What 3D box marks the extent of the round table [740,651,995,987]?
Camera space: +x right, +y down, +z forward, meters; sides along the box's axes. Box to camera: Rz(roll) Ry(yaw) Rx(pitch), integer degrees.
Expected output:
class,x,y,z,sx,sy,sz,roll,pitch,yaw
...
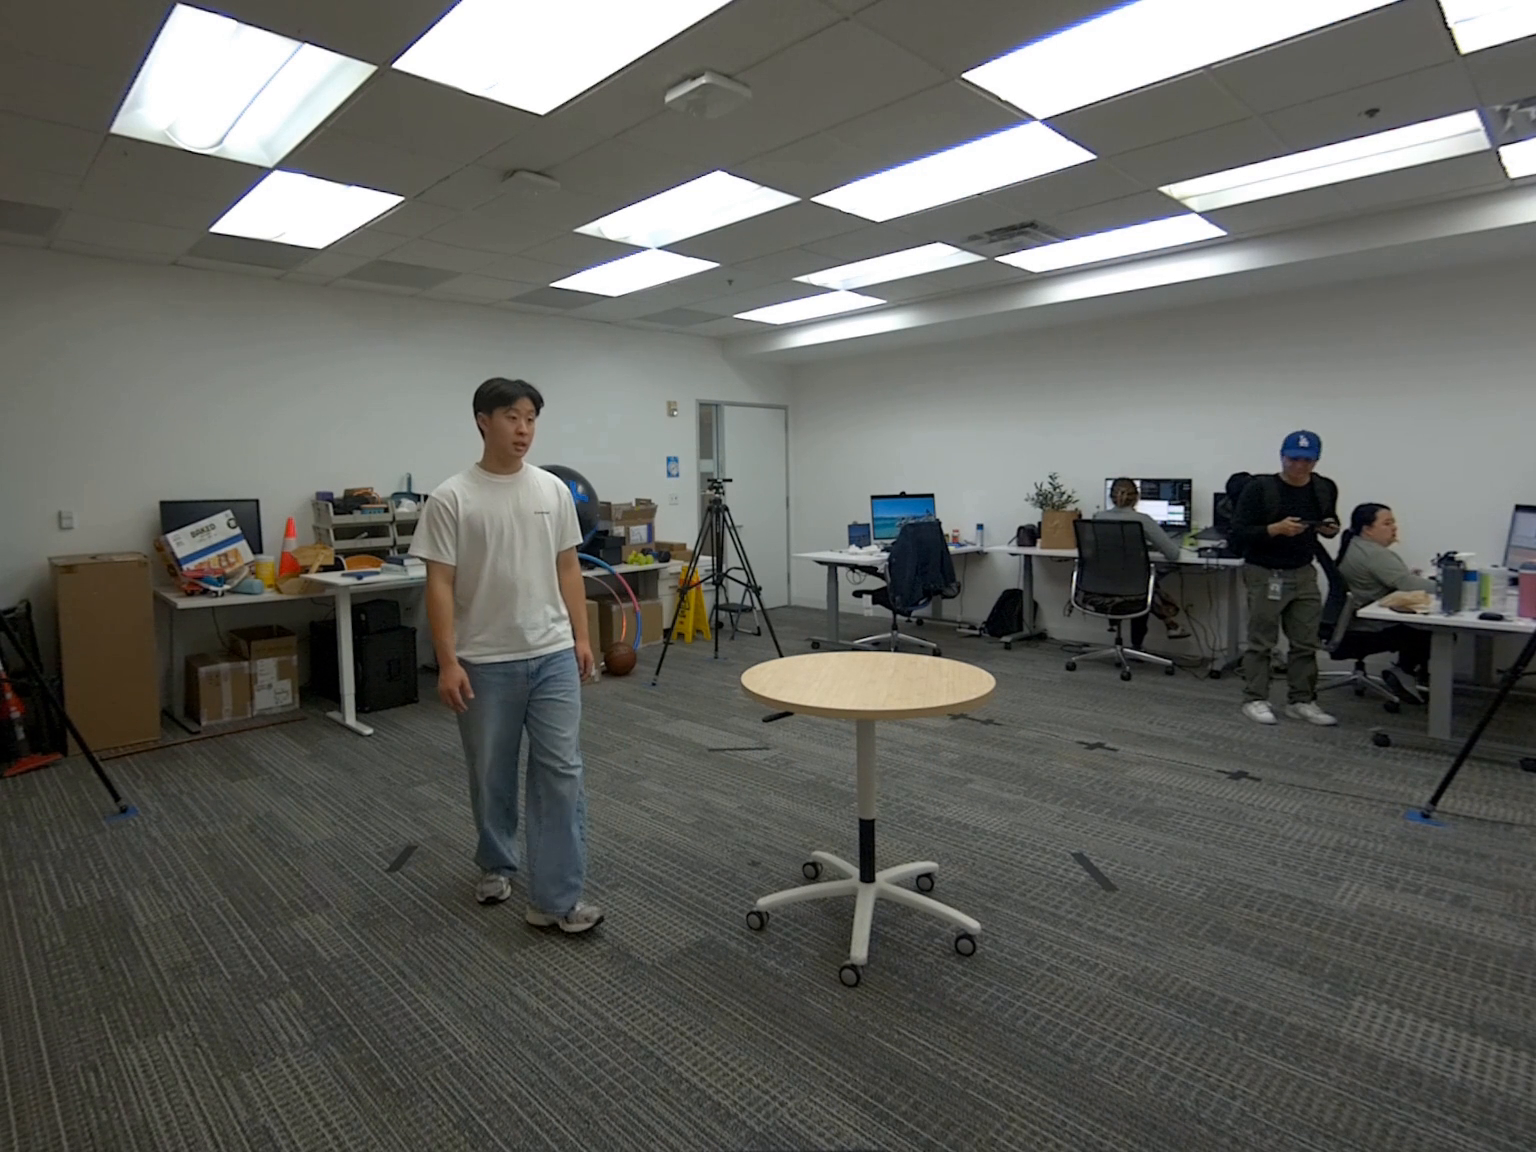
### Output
class,x,y,z,sx,sy,sz,roll,pitch,yaw
round table,0.306,0.699,2.658,0.763,0.791,0.768,-1,5,-2
